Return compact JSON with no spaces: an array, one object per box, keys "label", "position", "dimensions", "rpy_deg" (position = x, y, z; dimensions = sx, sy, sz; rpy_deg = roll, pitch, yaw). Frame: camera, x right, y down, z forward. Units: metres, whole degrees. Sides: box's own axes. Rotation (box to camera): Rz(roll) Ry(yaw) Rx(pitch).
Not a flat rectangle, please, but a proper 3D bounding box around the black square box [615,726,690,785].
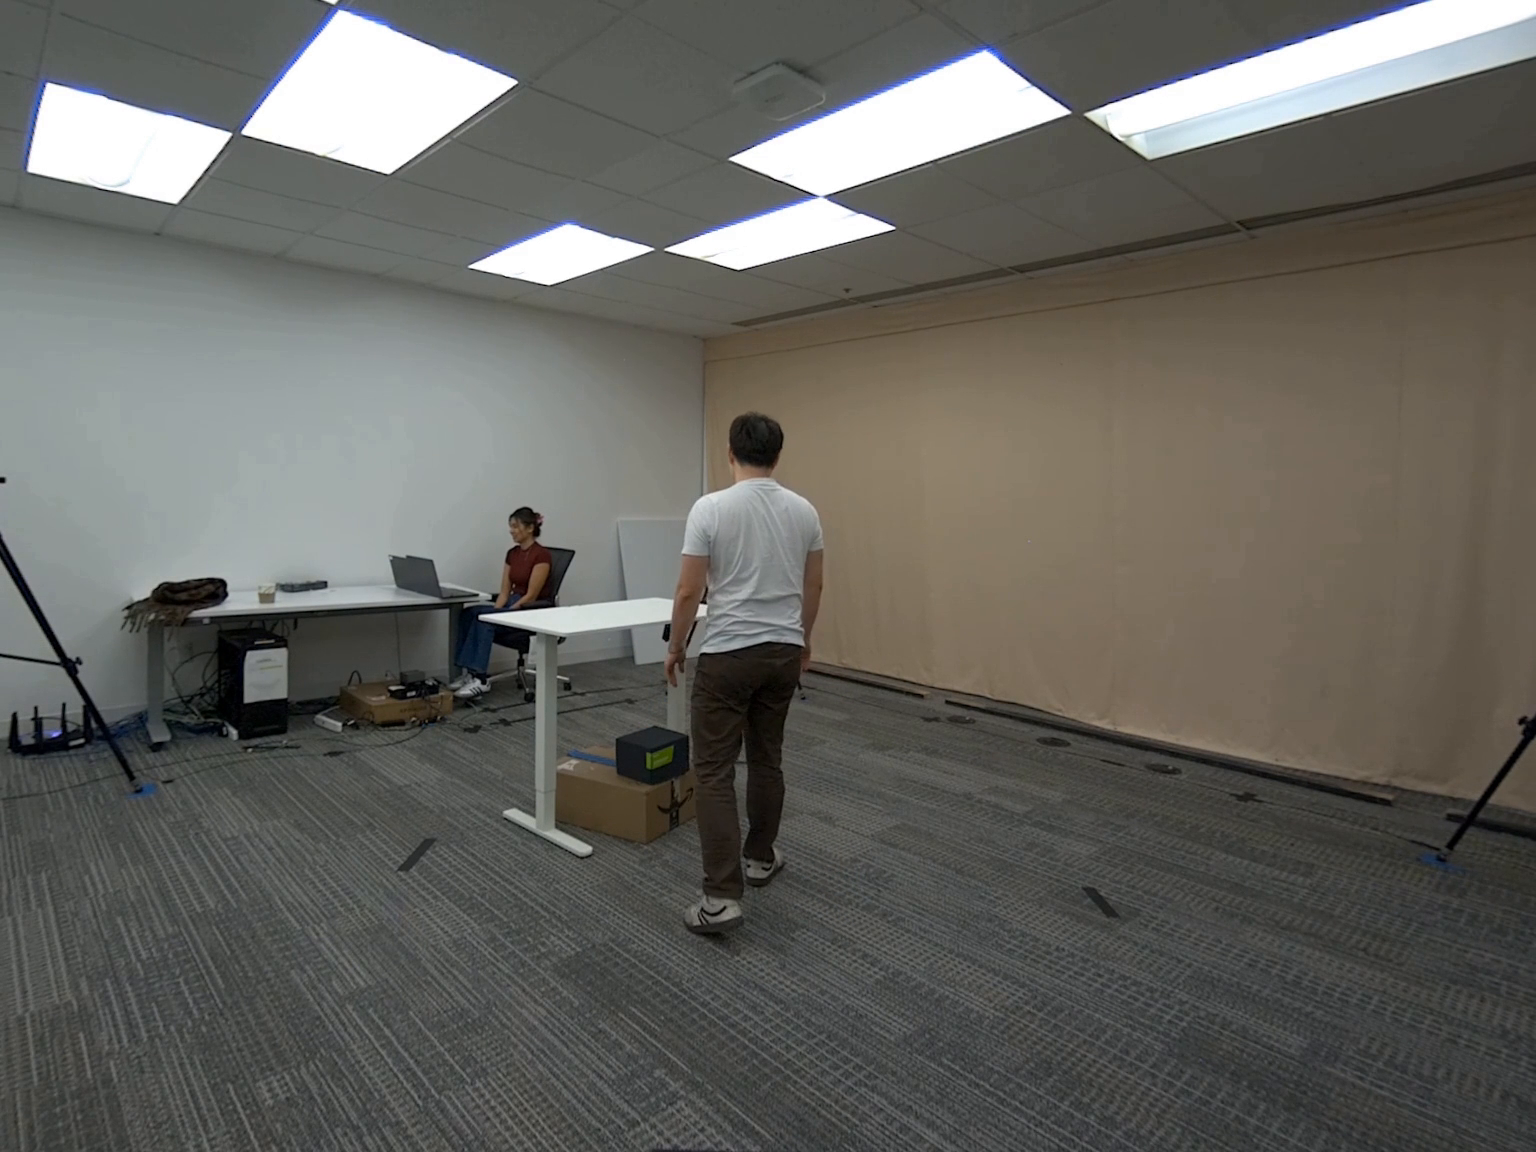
[{"label":"black square box","position":[-0.498,0.751,3.553],"dimensions":[0.222,0.155,0.223],"rpy_deg":[5,8,38]}]
